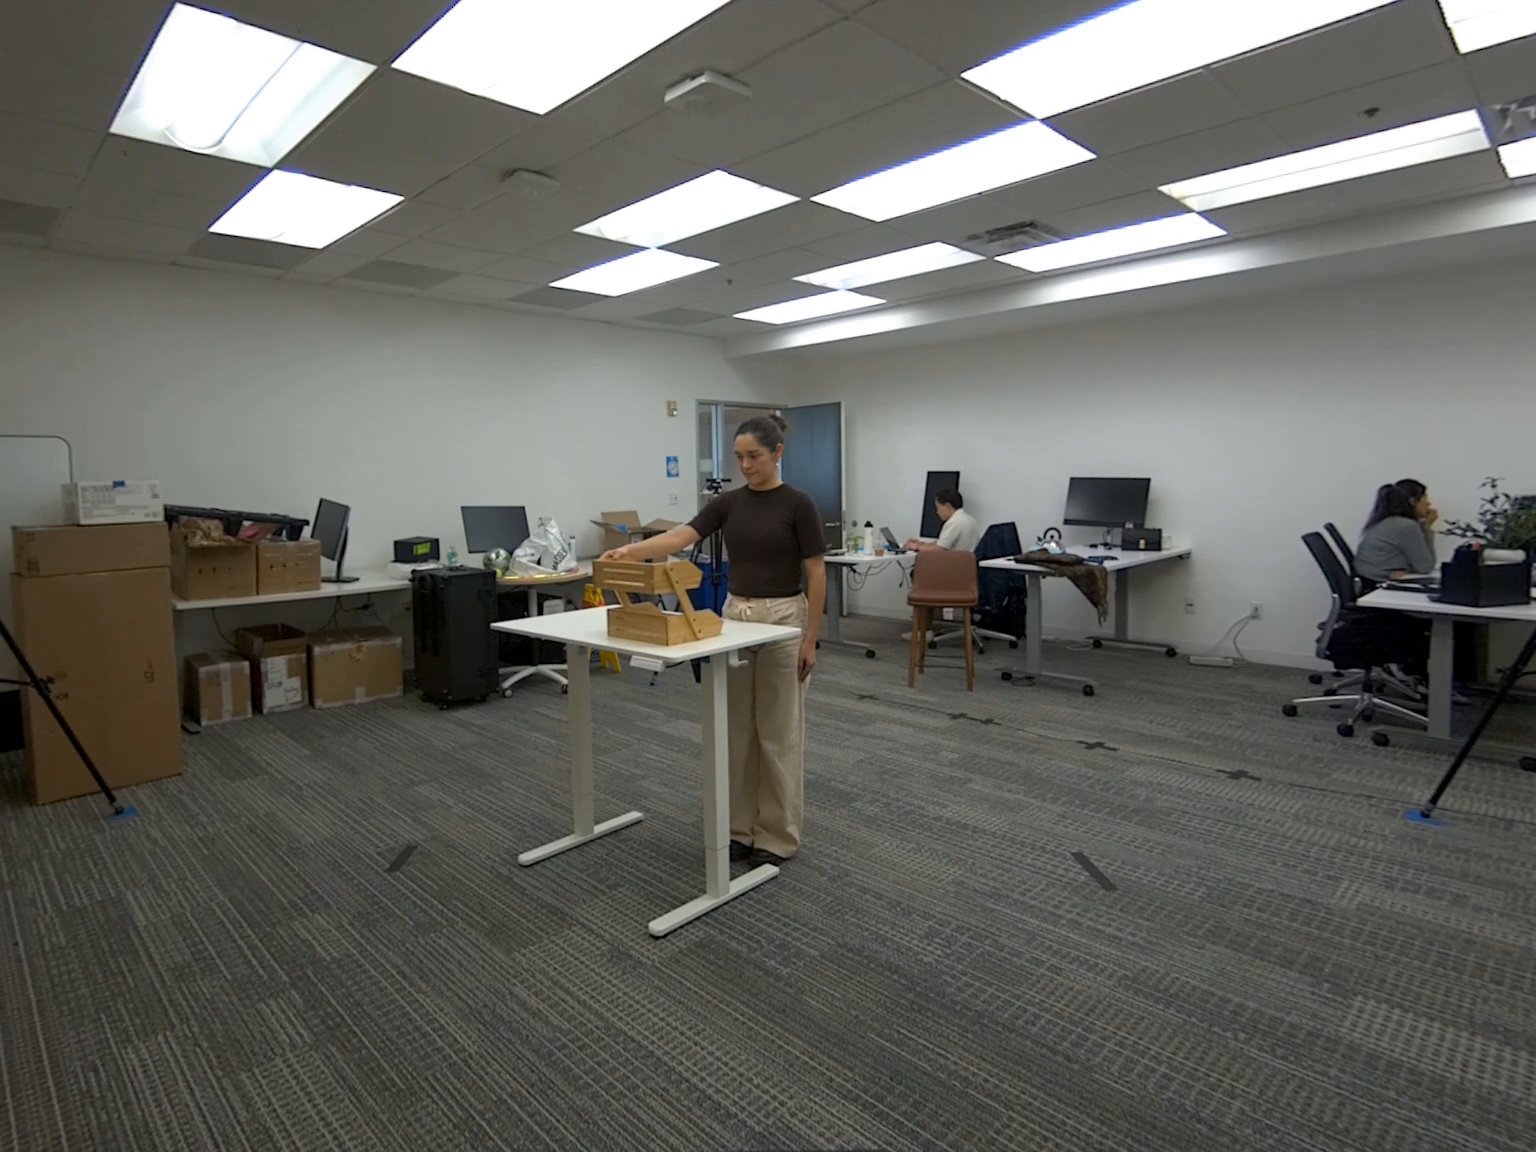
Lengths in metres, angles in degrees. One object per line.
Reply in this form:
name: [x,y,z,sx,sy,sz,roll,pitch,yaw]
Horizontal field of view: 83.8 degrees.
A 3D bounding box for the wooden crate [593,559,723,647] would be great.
wooden crate: [-0.358,0.069,2.807,0.334,0.272,0.294,3,8,42]
